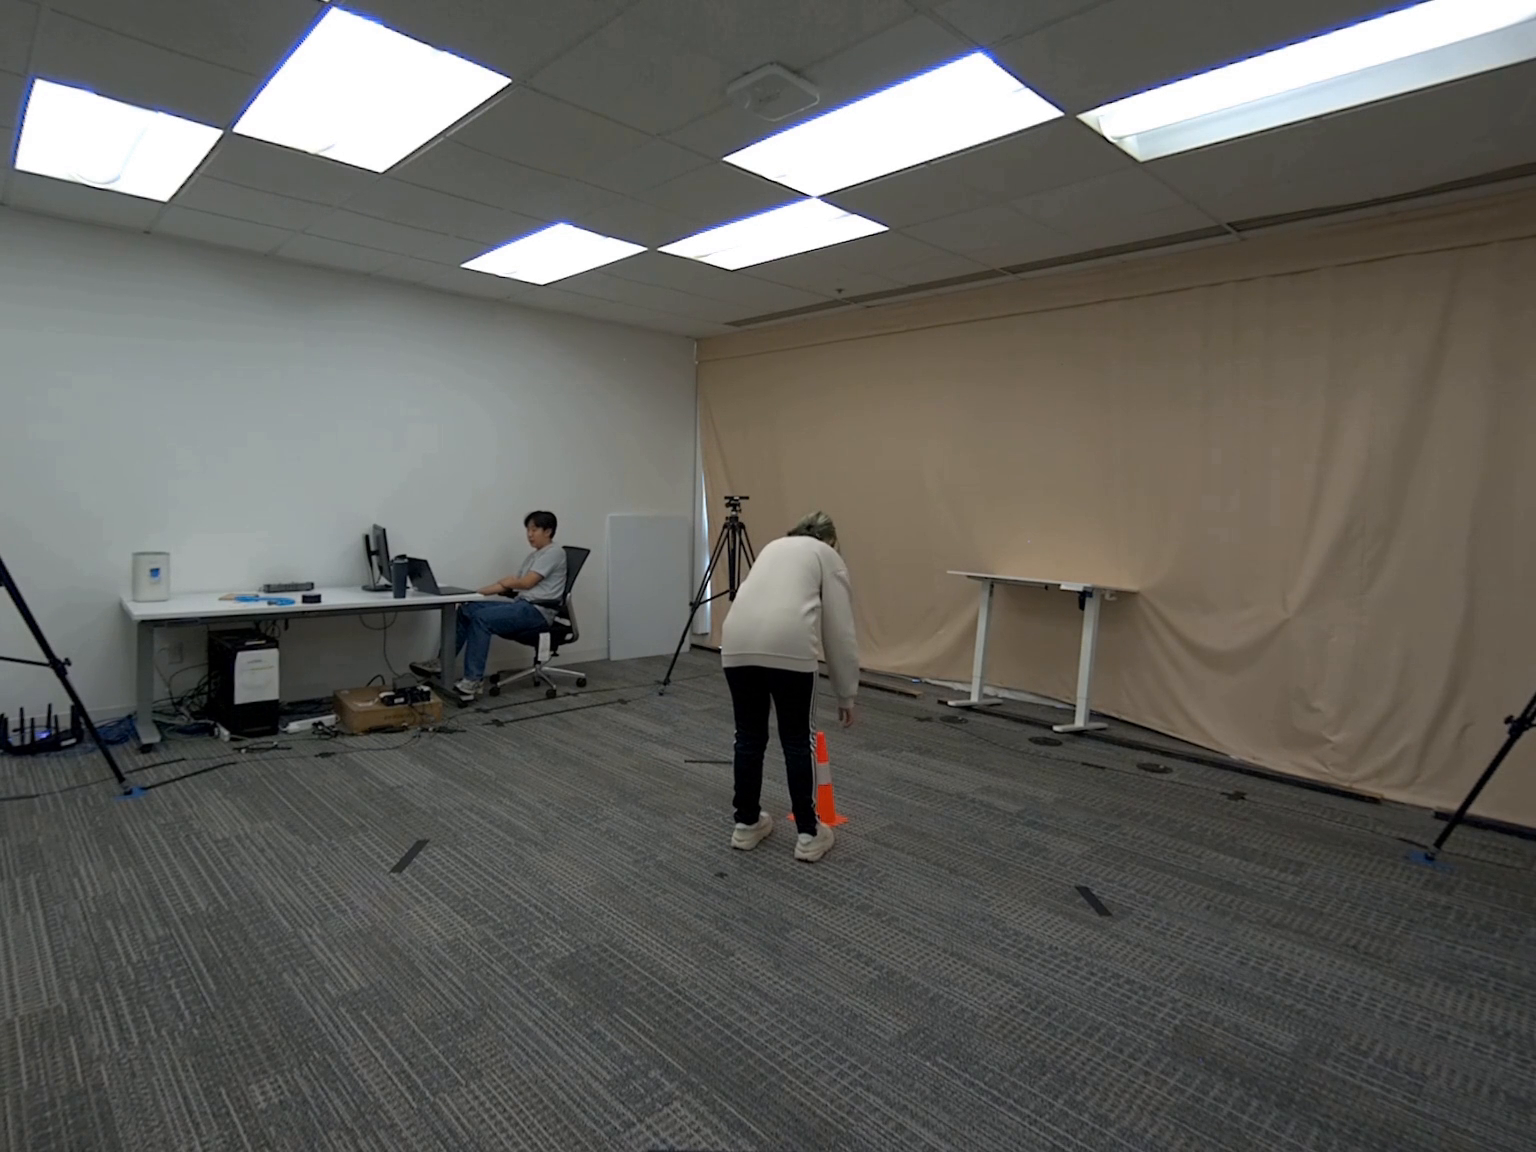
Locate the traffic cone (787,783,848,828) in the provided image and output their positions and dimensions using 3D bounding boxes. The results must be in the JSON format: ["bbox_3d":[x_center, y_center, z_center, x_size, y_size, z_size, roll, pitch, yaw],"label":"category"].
[{"bbox_3d":[0.219,0.879,3.679,0.199,0.382,0.210,-2,6,-39],"label":"traffic cone"}]
